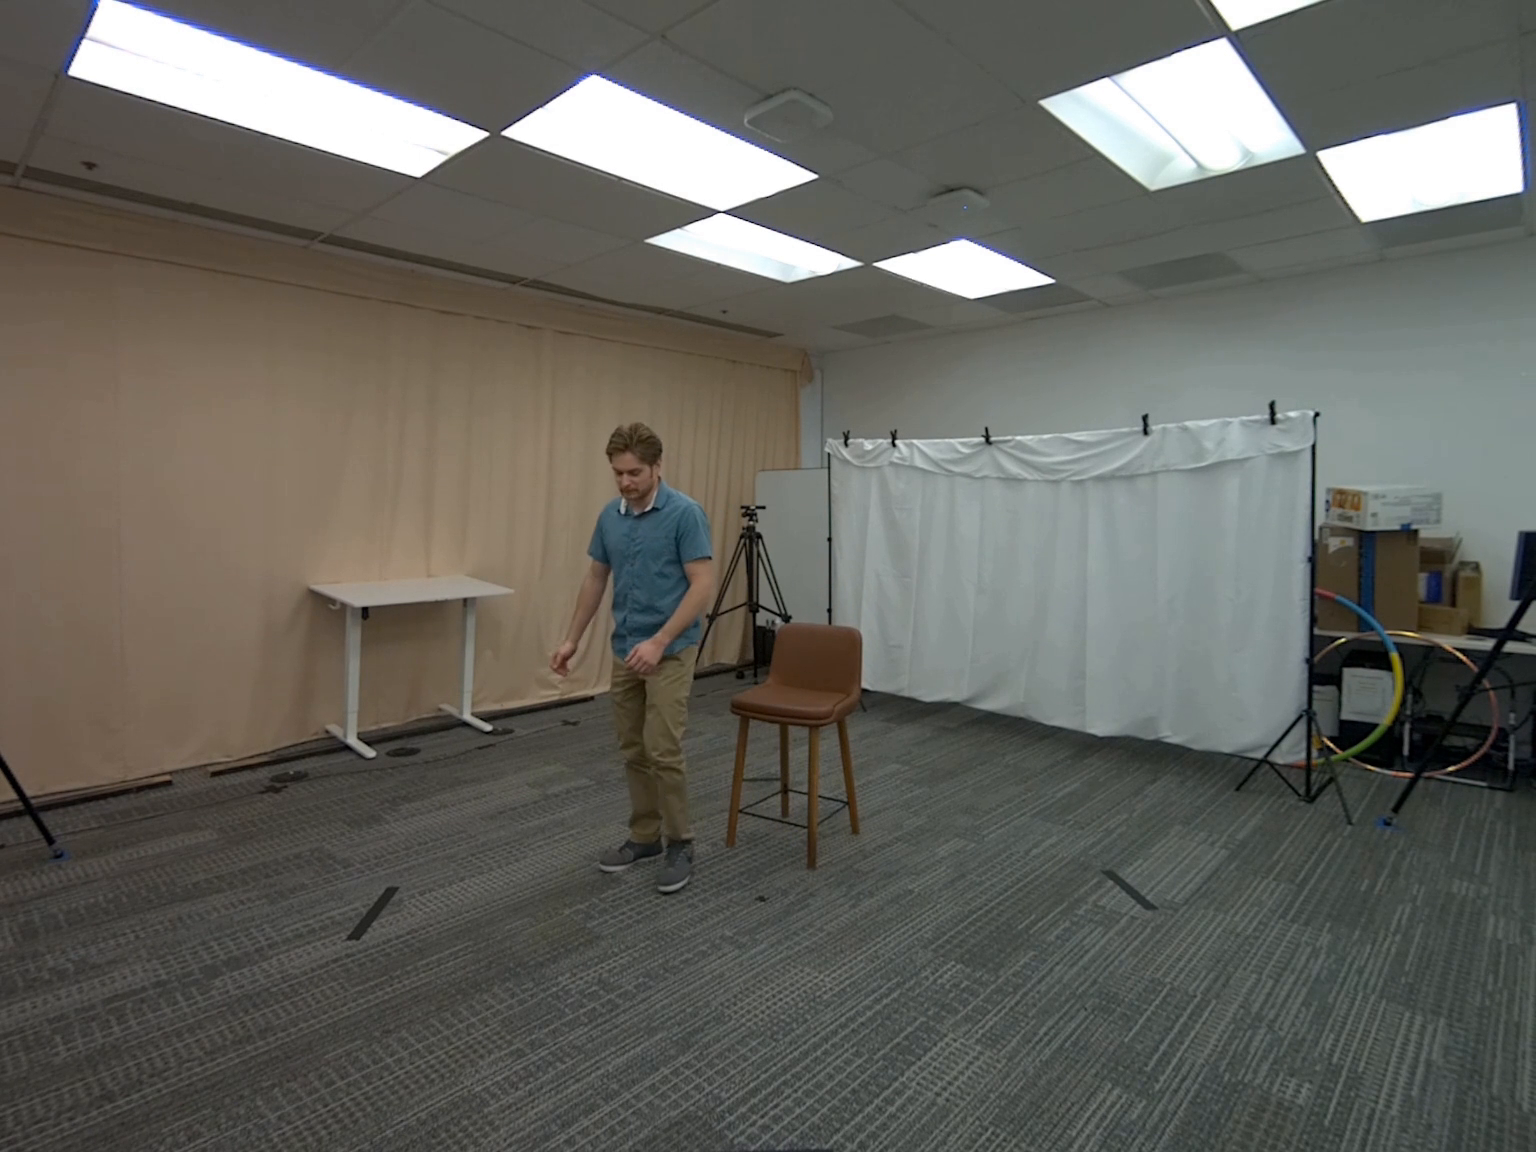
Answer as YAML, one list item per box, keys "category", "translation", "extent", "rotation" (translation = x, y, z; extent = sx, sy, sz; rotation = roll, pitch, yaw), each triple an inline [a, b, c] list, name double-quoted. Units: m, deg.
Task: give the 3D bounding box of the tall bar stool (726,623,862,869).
- category: "tall bar stool"
  translation: [0.119, 0.664, 3.489]
  extent: [0.471, 0.889, 0.454]
  rotation: [3, 2, 34]
